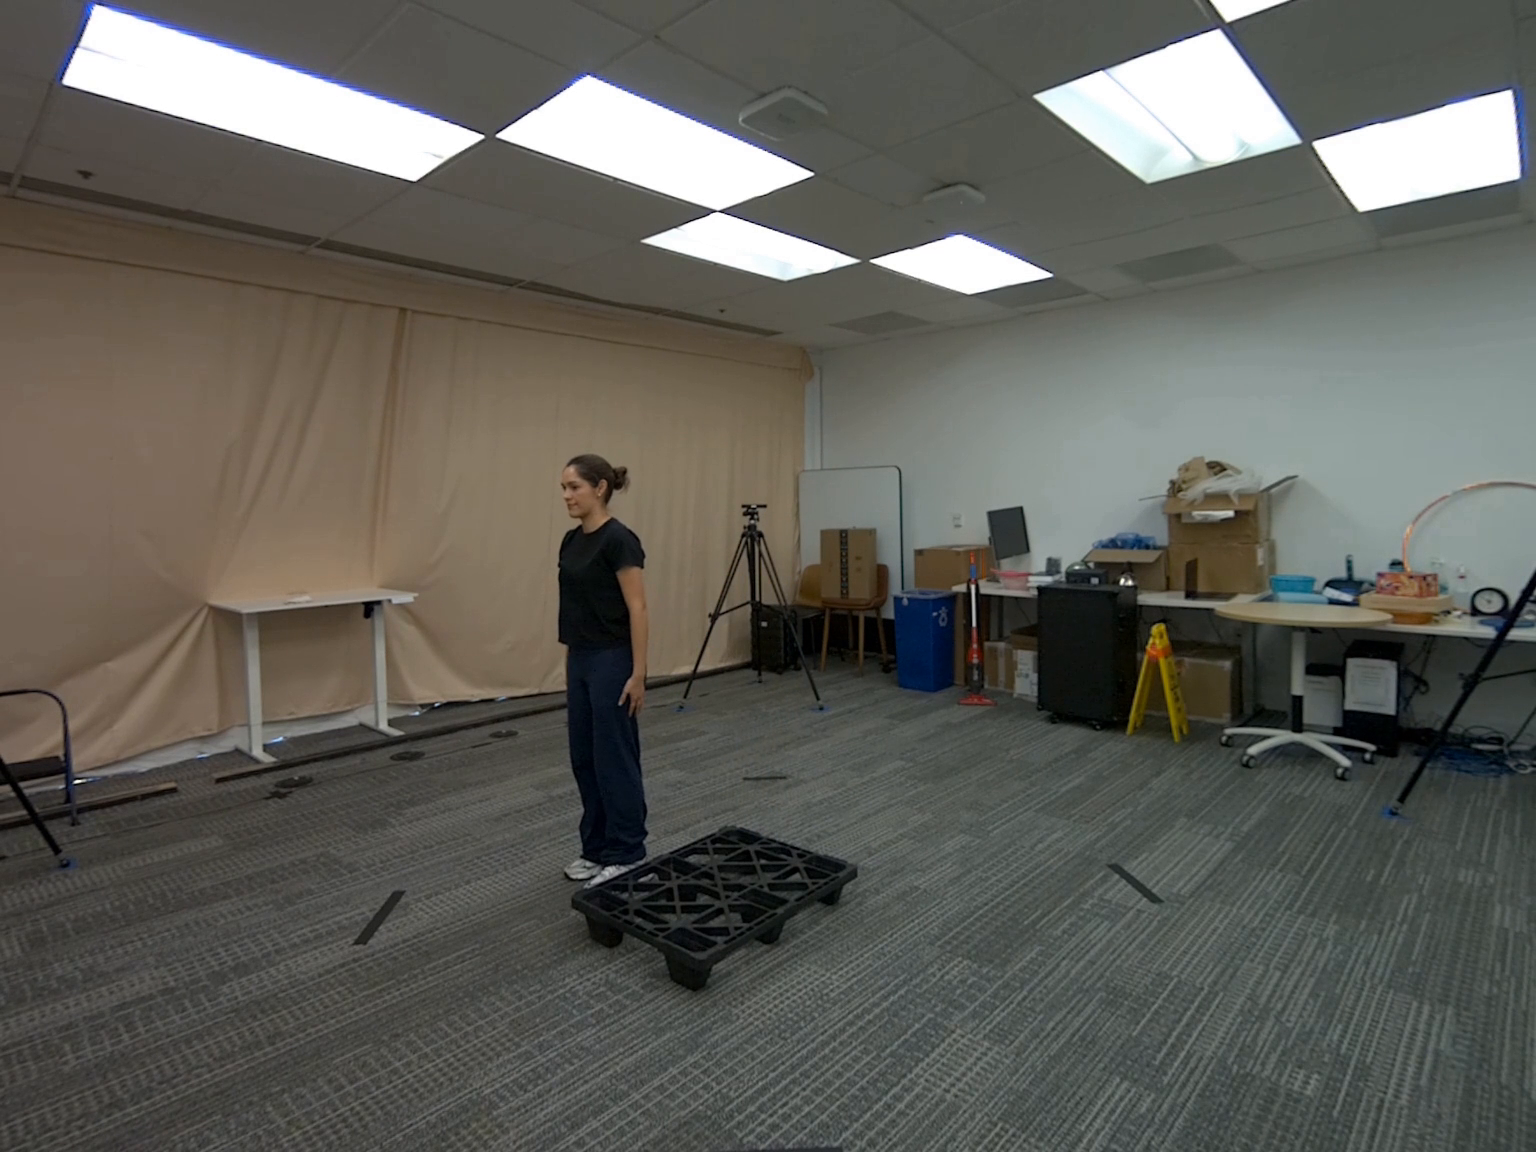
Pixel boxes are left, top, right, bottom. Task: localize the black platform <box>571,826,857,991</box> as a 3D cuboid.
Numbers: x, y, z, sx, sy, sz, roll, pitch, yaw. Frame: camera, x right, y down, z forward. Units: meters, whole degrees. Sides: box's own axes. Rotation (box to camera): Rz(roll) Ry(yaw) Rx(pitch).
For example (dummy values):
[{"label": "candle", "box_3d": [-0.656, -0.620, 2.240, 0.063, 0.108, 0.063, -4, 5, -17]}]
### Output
[{"label": "black platform", "box_3d": [-0.153, 1.090, 2.830, 0.625, 0.143, 0.781, 2, 6, 40]}]
